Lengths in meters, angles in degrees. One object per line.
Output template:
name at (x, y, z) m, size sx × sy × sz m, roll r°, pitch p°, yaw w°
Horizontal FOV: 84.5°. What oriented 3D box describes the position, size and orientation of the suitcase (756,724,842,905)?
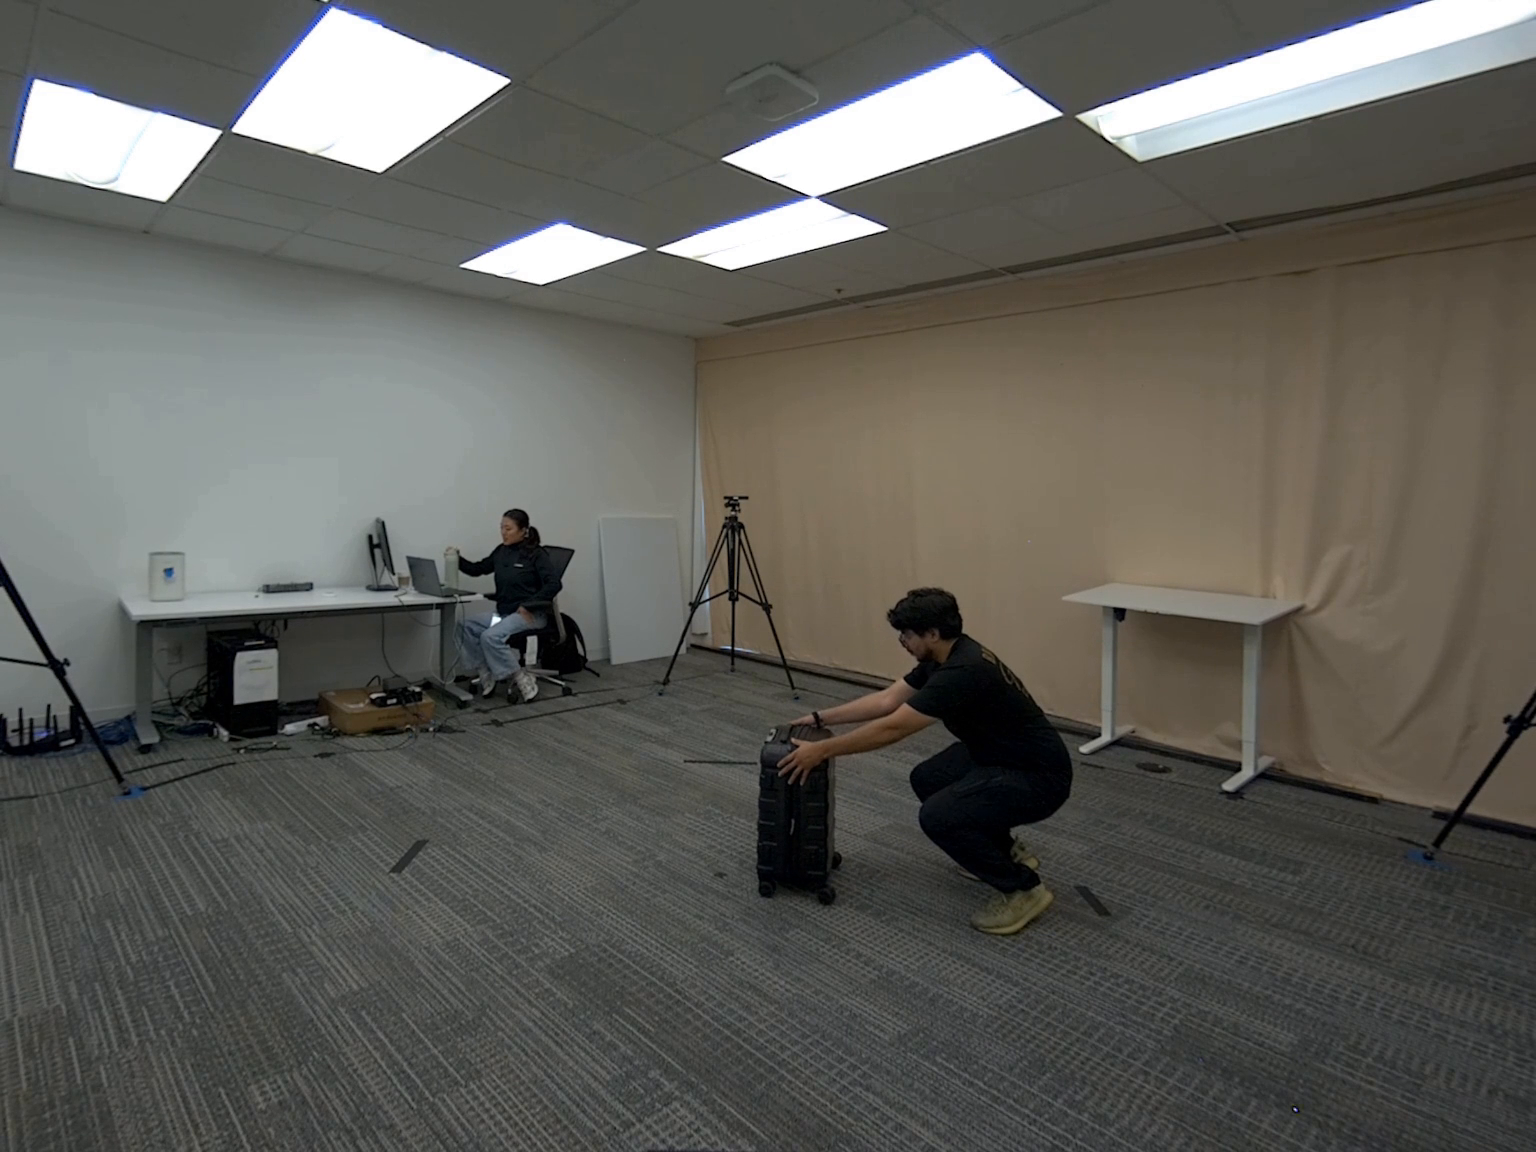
suitcase at (0.114, 0.839, 3.067) m, size 0.250 × 0.548 × 0.373 m, roll 1°, pitch 3°, yaw 9°
